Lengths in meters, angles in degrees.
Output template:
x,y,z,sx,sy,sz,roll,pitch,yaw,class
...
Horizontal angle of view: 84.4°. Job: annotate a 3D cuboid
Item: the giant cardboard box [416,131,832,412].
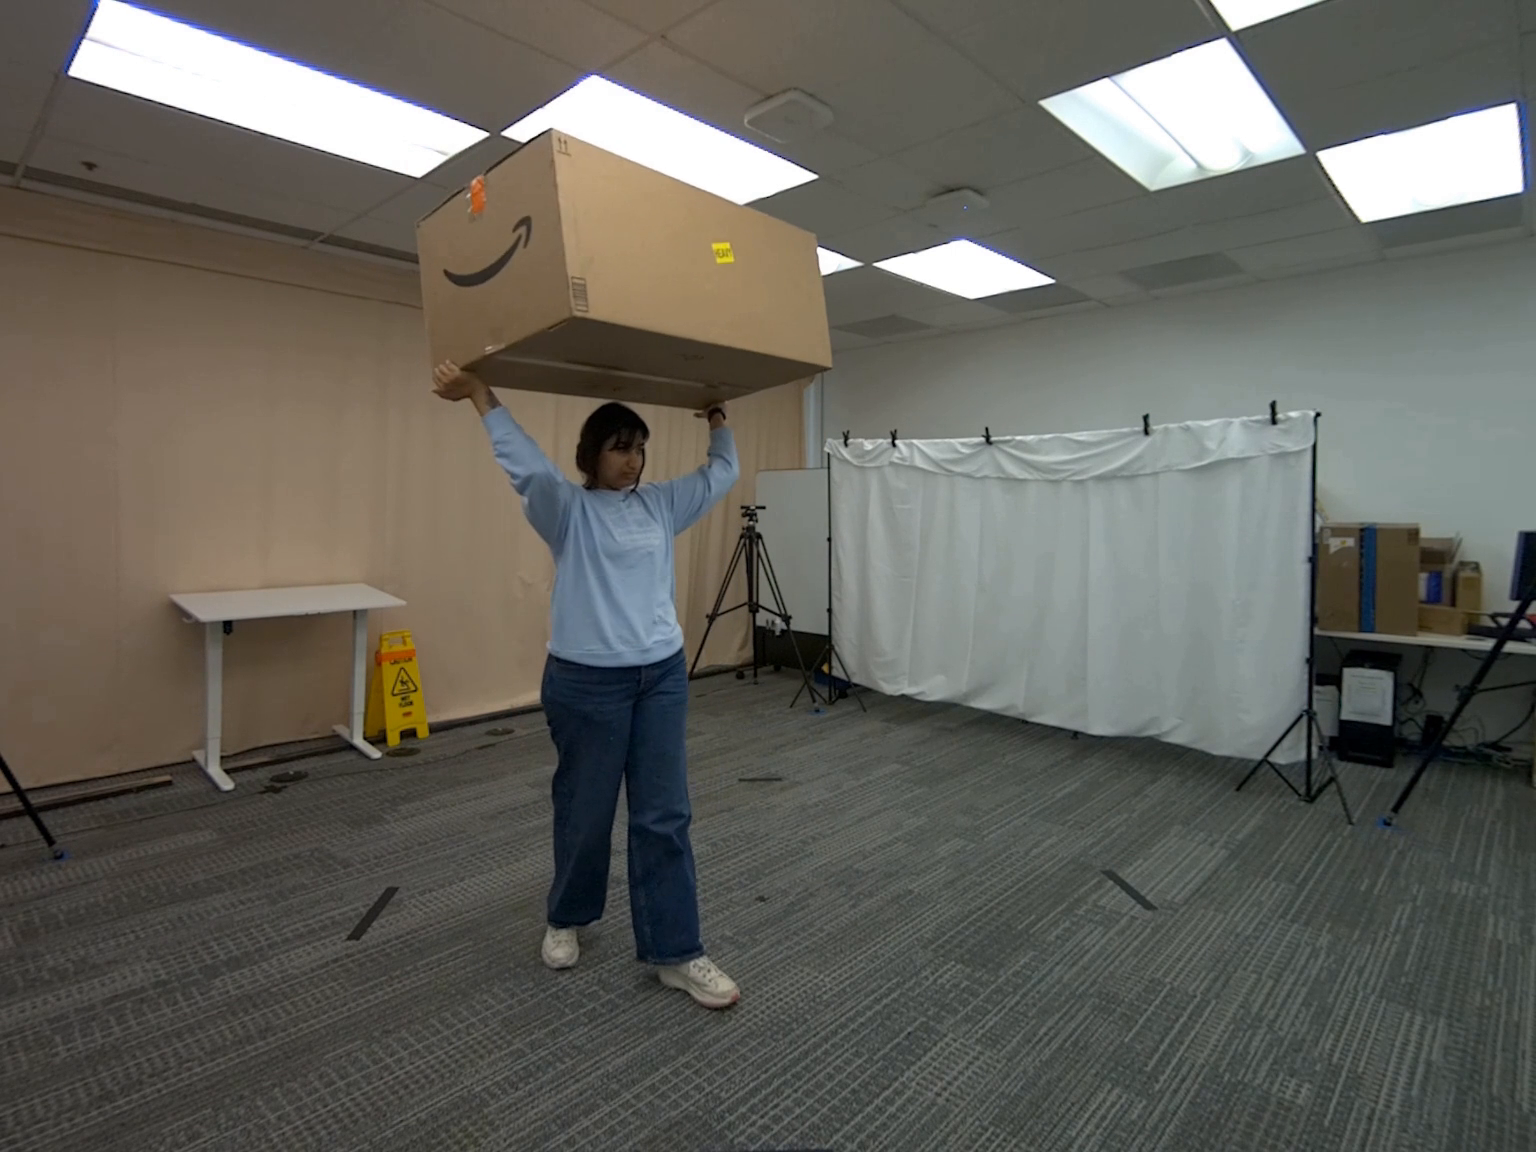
x,y,z,sx,sy,sz,roll,pitch,yaw,class
-0.355,-0.777,2.380,0.594,0.427,0.995,-8,-1,39,giant cardboard box
